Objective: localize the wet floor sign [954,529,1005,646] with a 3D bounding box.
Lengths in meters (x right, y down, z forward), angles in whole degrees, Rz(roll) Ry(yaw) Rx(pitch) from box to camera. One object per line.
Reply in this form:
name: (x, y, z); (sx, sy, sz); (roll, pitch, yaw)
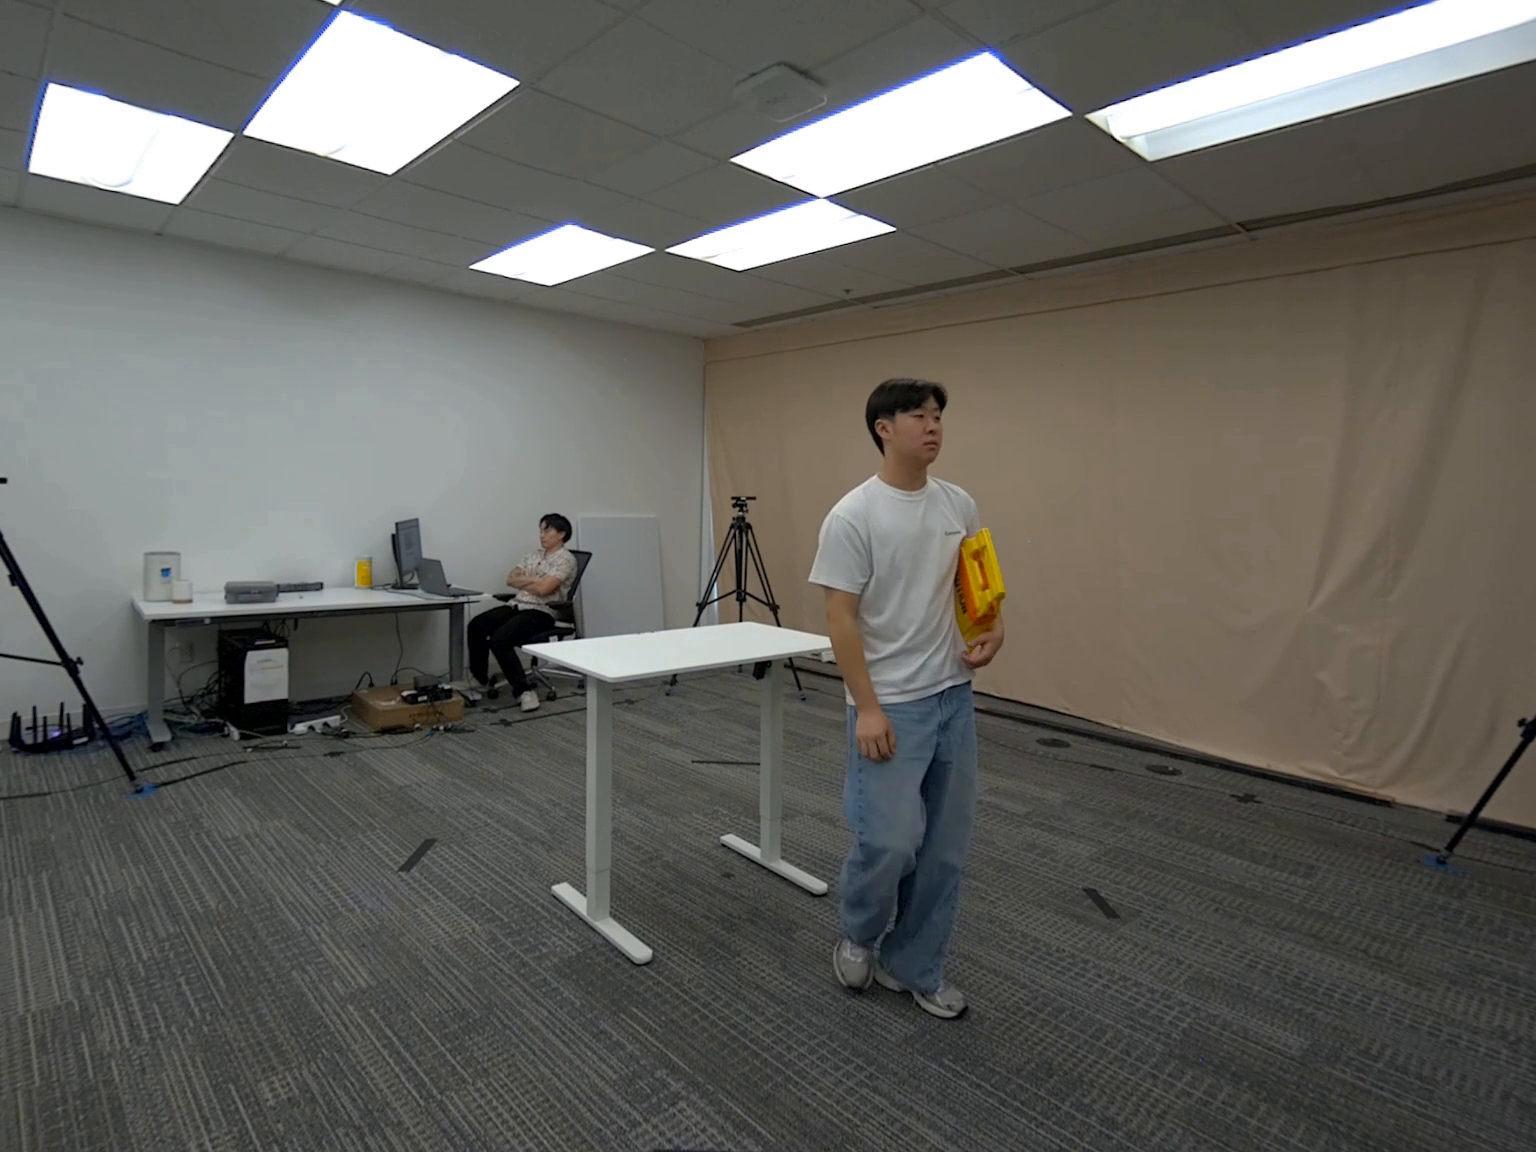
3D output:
wet floor sign: (0.569, 0.103, 2.518); (0.287, 0.287, 0.639); (-3, -22, -10)
